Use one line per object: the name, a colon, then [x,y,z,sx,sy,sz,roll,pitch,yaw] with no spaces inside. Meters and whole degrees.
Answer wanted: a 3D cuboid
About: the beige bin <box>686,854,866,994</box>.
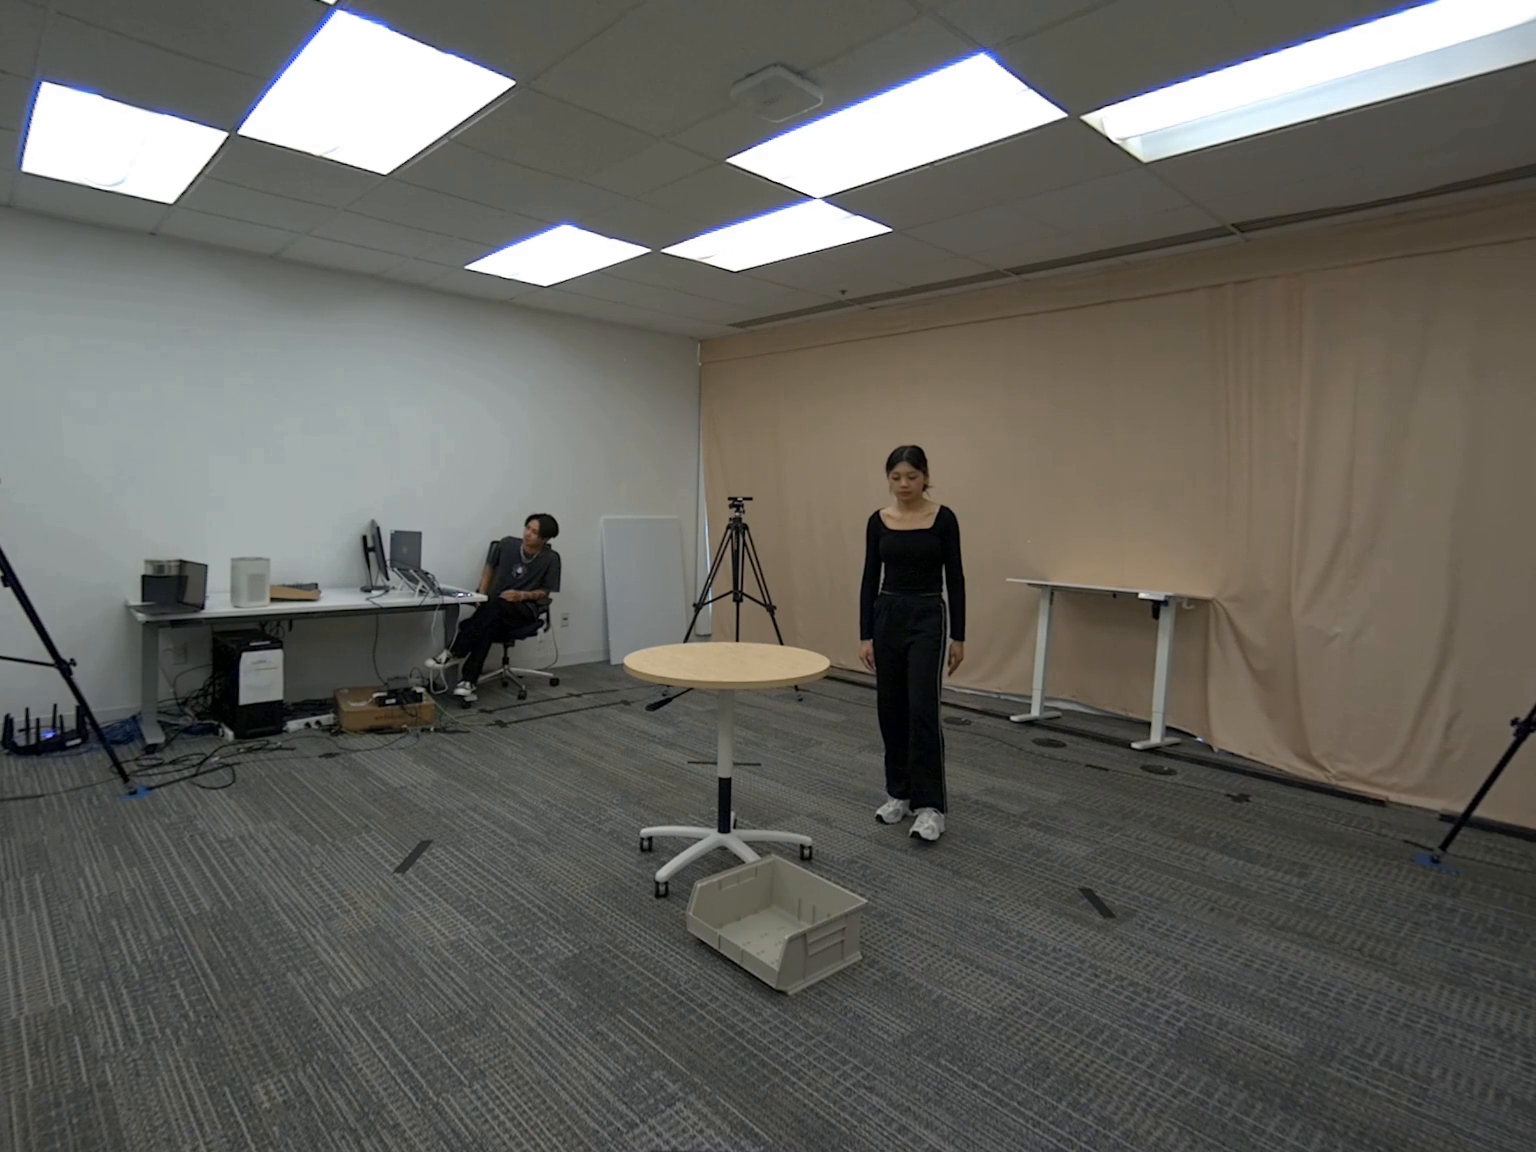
beige bin: [0.016,1.072,2.599,0.369,0.188,0.433,-2,5,-42]
